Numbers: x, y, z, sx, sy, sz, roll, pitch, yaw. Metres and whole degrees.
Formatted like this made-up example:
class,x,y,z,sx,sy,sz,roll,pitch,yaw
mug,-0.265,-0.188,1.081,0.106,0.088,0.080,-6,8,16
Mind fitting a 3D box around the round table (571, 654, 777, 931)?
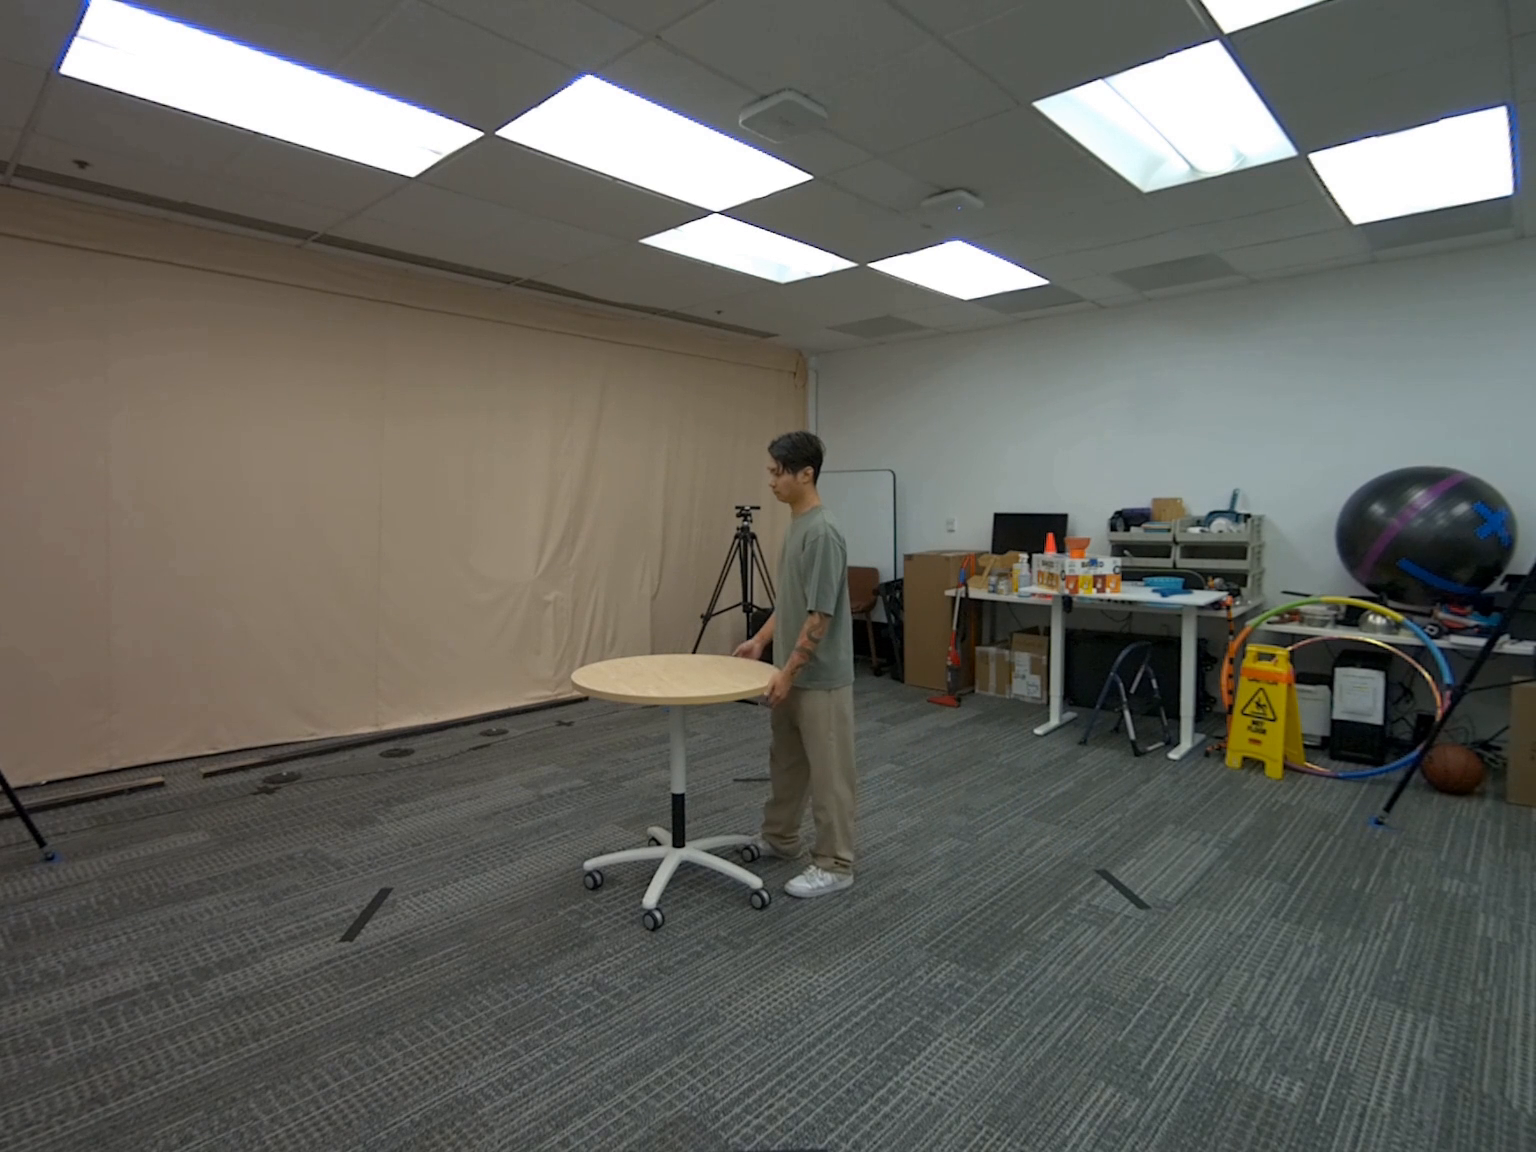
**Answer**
class,x,y,z,sx,sy,sz,roll,pitch,yaw
round table,-0.335,0.746,3.078,0.784,0.785,0.788,0,4,-2
